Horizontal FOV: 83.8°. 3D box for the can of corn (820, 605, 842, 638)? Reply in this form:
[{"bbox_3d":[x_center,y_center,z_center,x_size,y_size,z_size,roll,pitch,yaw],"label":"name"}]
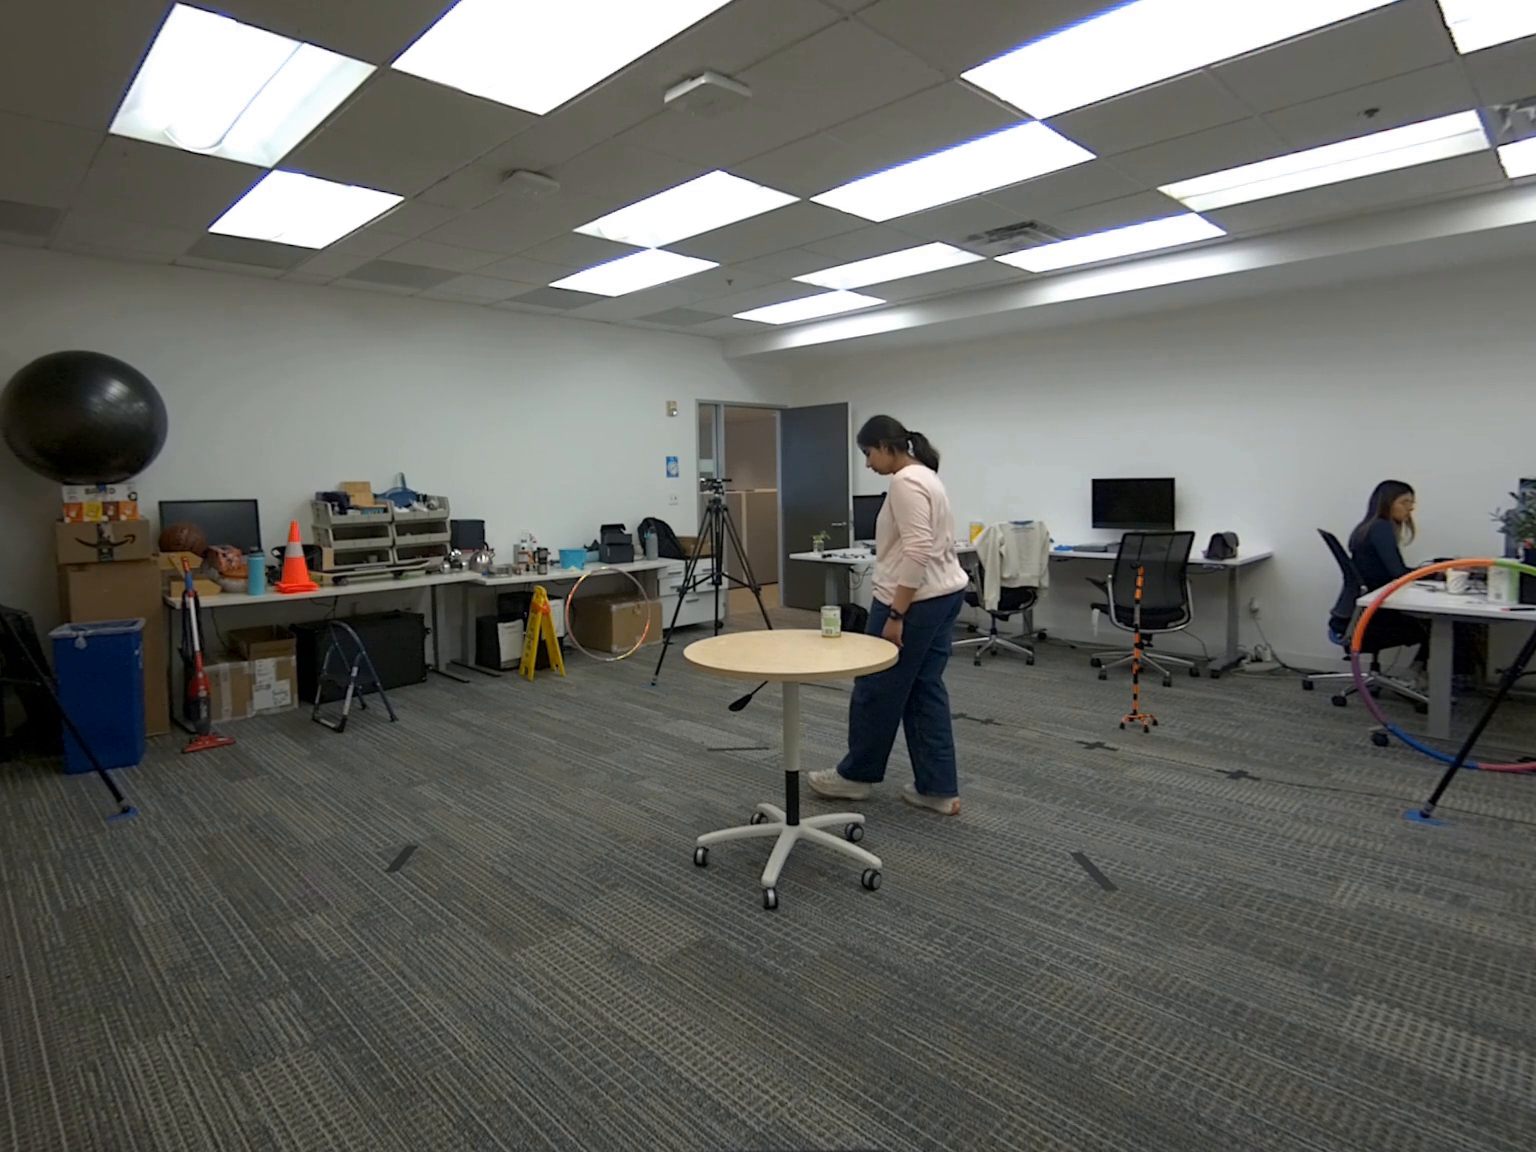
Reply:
[{"bbox_3d":[0.244,0.175,3.285,0.074,0.110,0.074,-2,6,-1],"label":"can of corn"}]
